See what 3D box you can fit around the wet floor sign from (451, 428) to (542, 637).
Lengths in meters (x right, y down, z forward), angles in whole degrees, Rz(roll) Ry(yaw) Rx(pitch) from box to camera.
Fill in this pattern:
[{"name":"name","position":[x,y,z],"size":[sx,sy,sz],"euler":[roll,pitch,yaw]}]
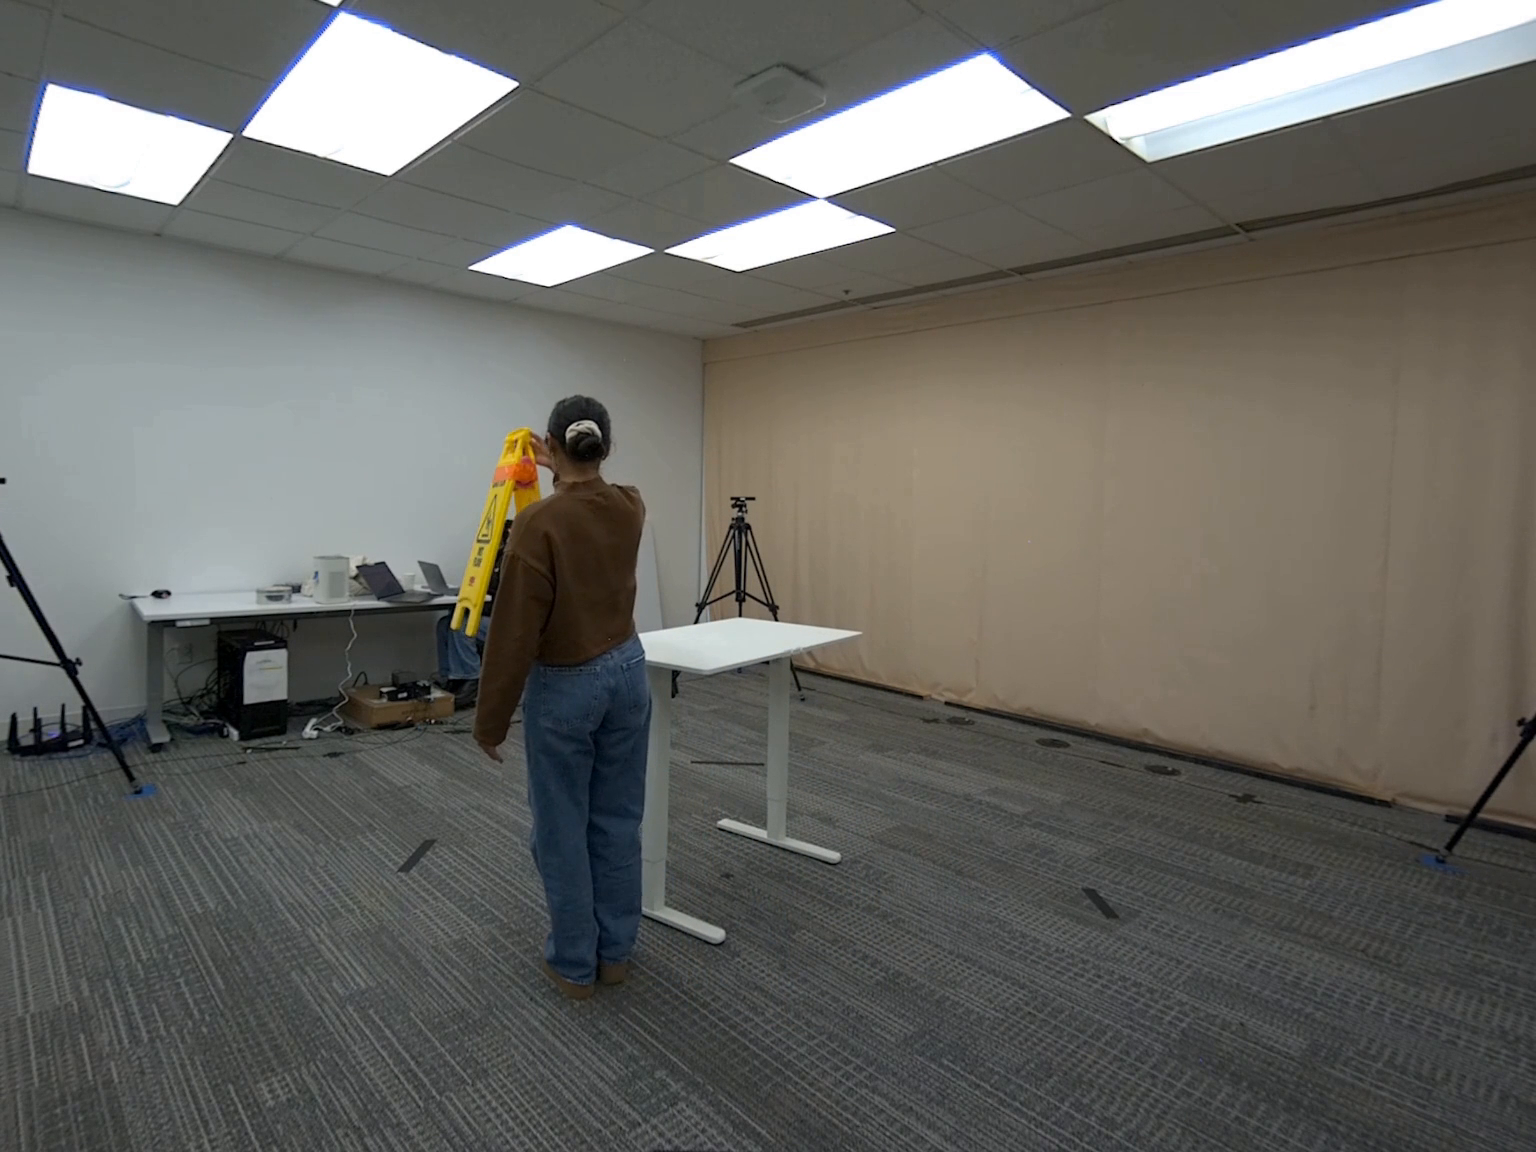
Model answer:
[{"name":"wet floor sign","position":[-0.817,-0.141,2.673],"size":[0.283,0.646,0.288],"euler":[5,-1,-32]}]
